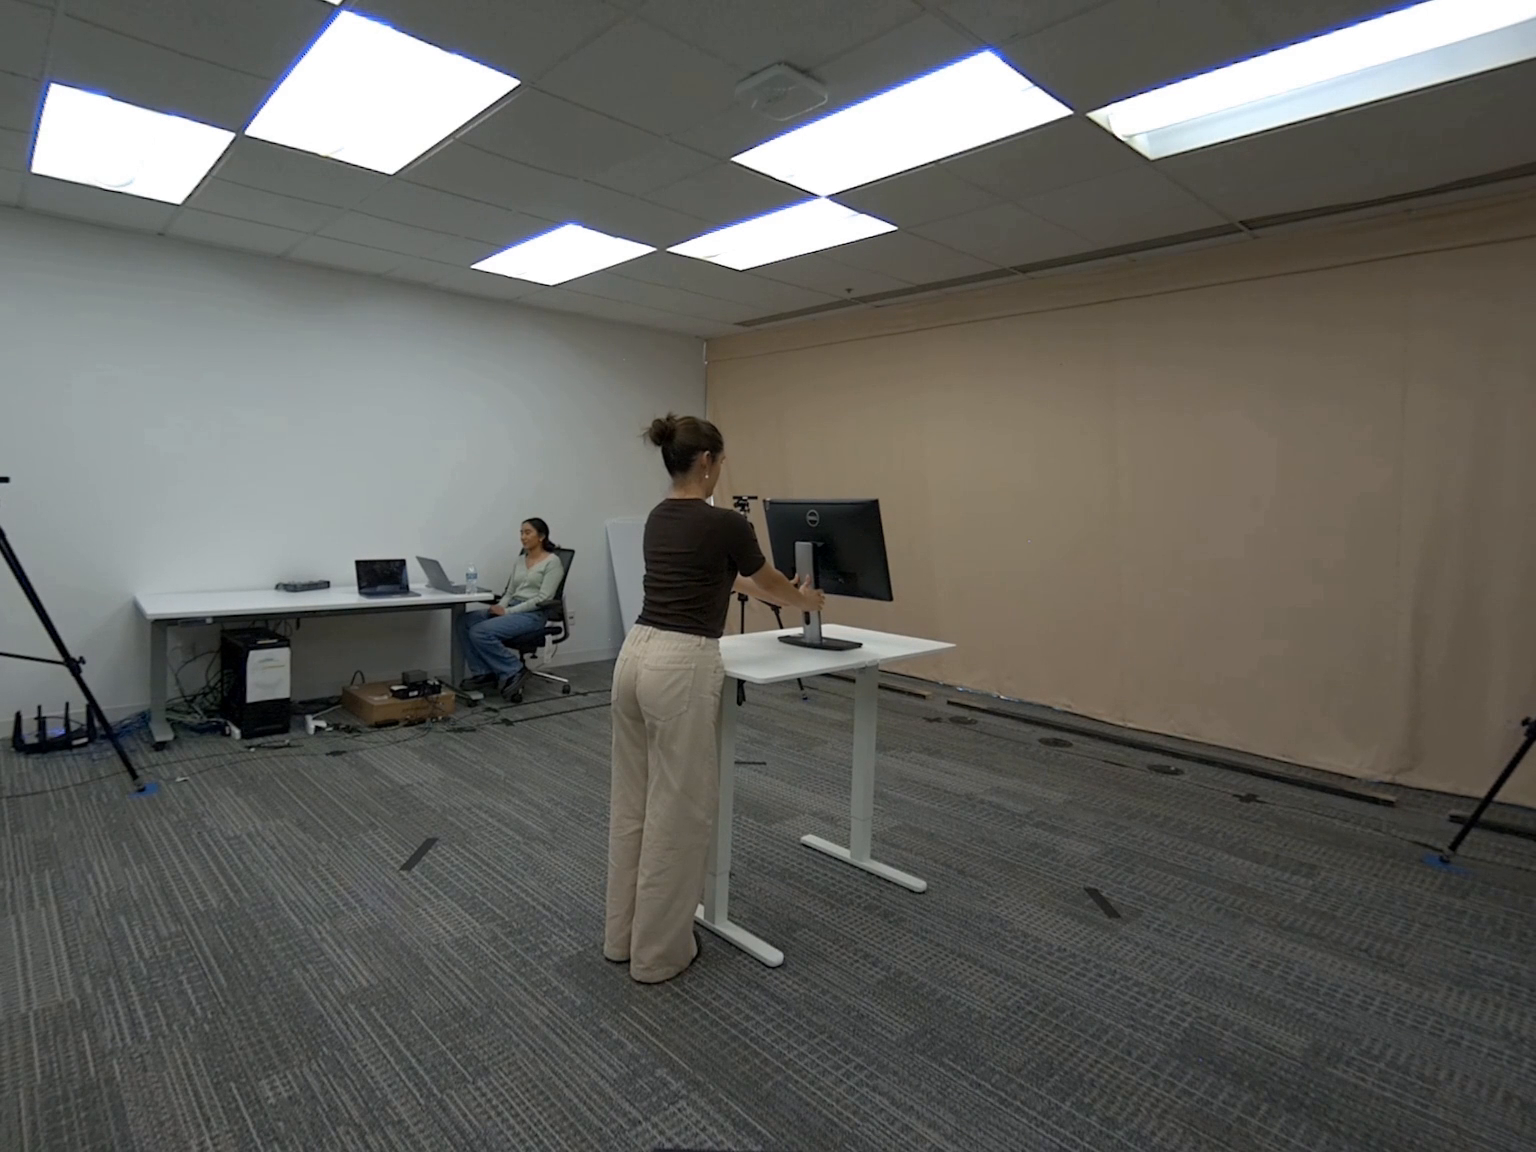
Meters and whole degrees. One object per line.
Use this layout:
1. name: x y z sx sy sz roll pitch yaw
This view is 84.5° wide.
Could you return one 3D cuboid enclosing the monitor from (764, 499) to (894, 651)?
1. monitor: 0.169 -0.007 2.943 0.553 0.521 0.183 5 7 45
